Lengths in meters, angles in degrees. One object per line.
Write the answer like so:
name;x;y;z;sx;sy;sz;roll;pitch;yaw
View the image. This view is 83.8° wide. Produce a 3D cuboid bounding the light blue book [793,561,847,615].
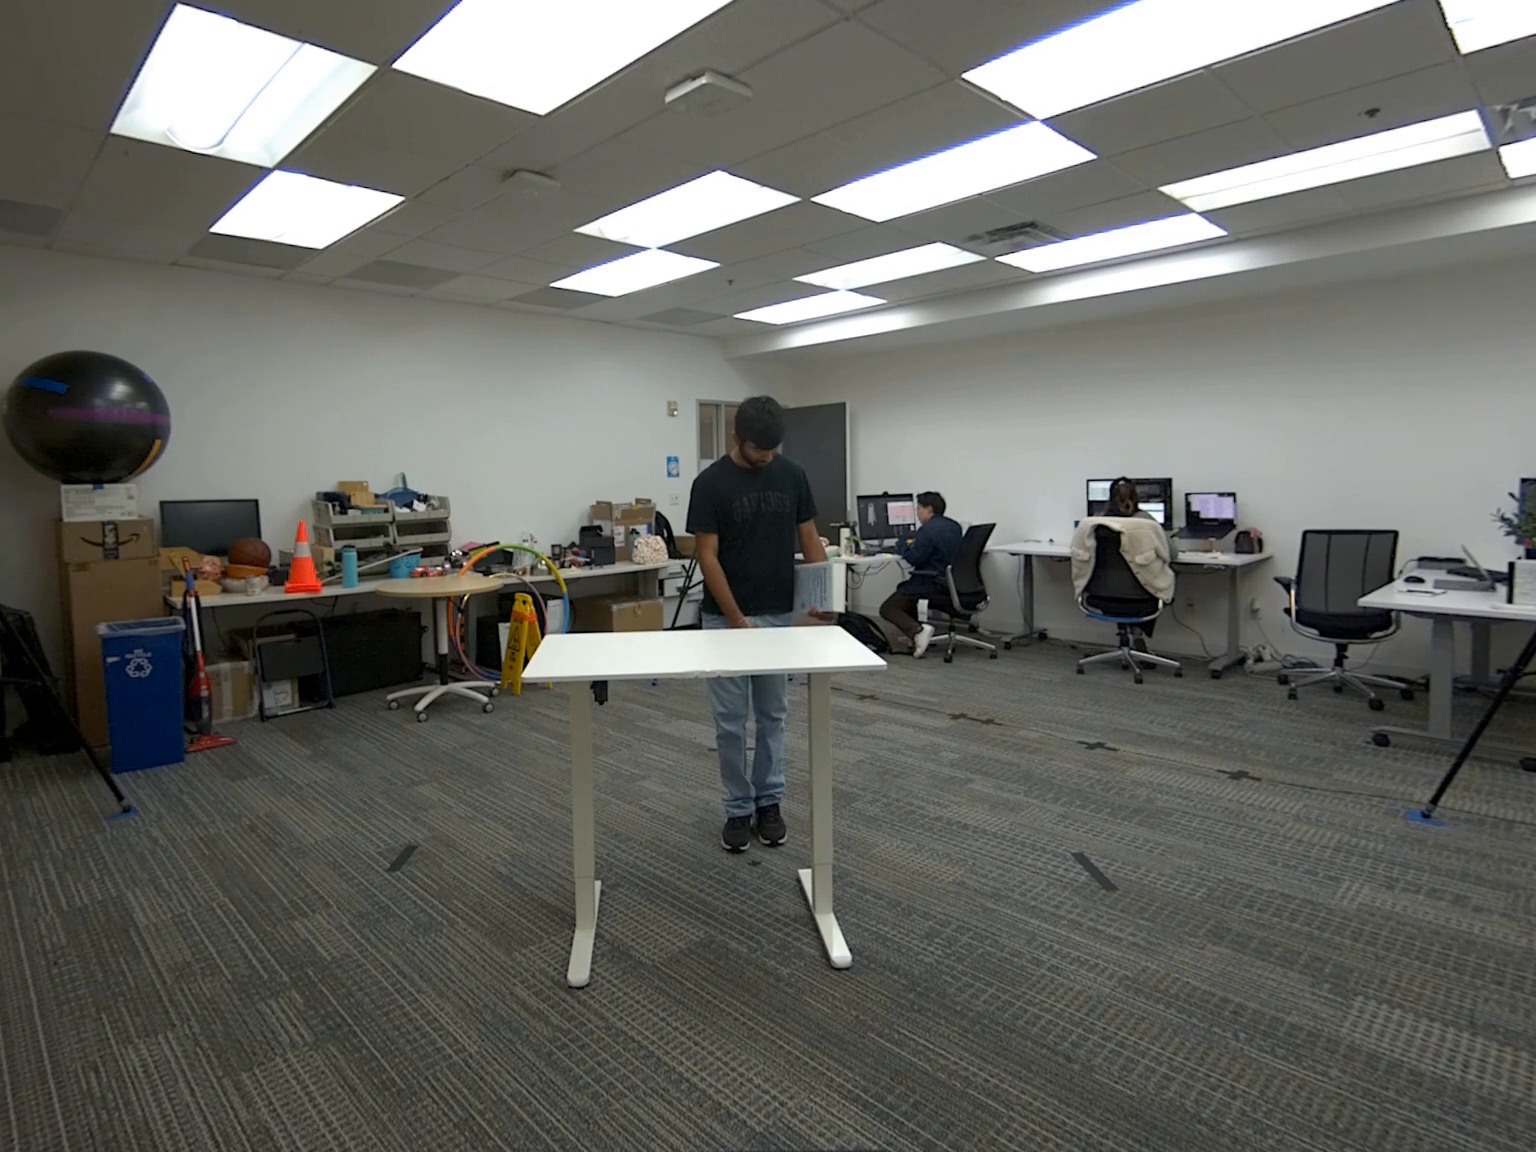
light blue book;0.189;0.051;3.219;0.057;0.192;0.266;2;-5;-28
